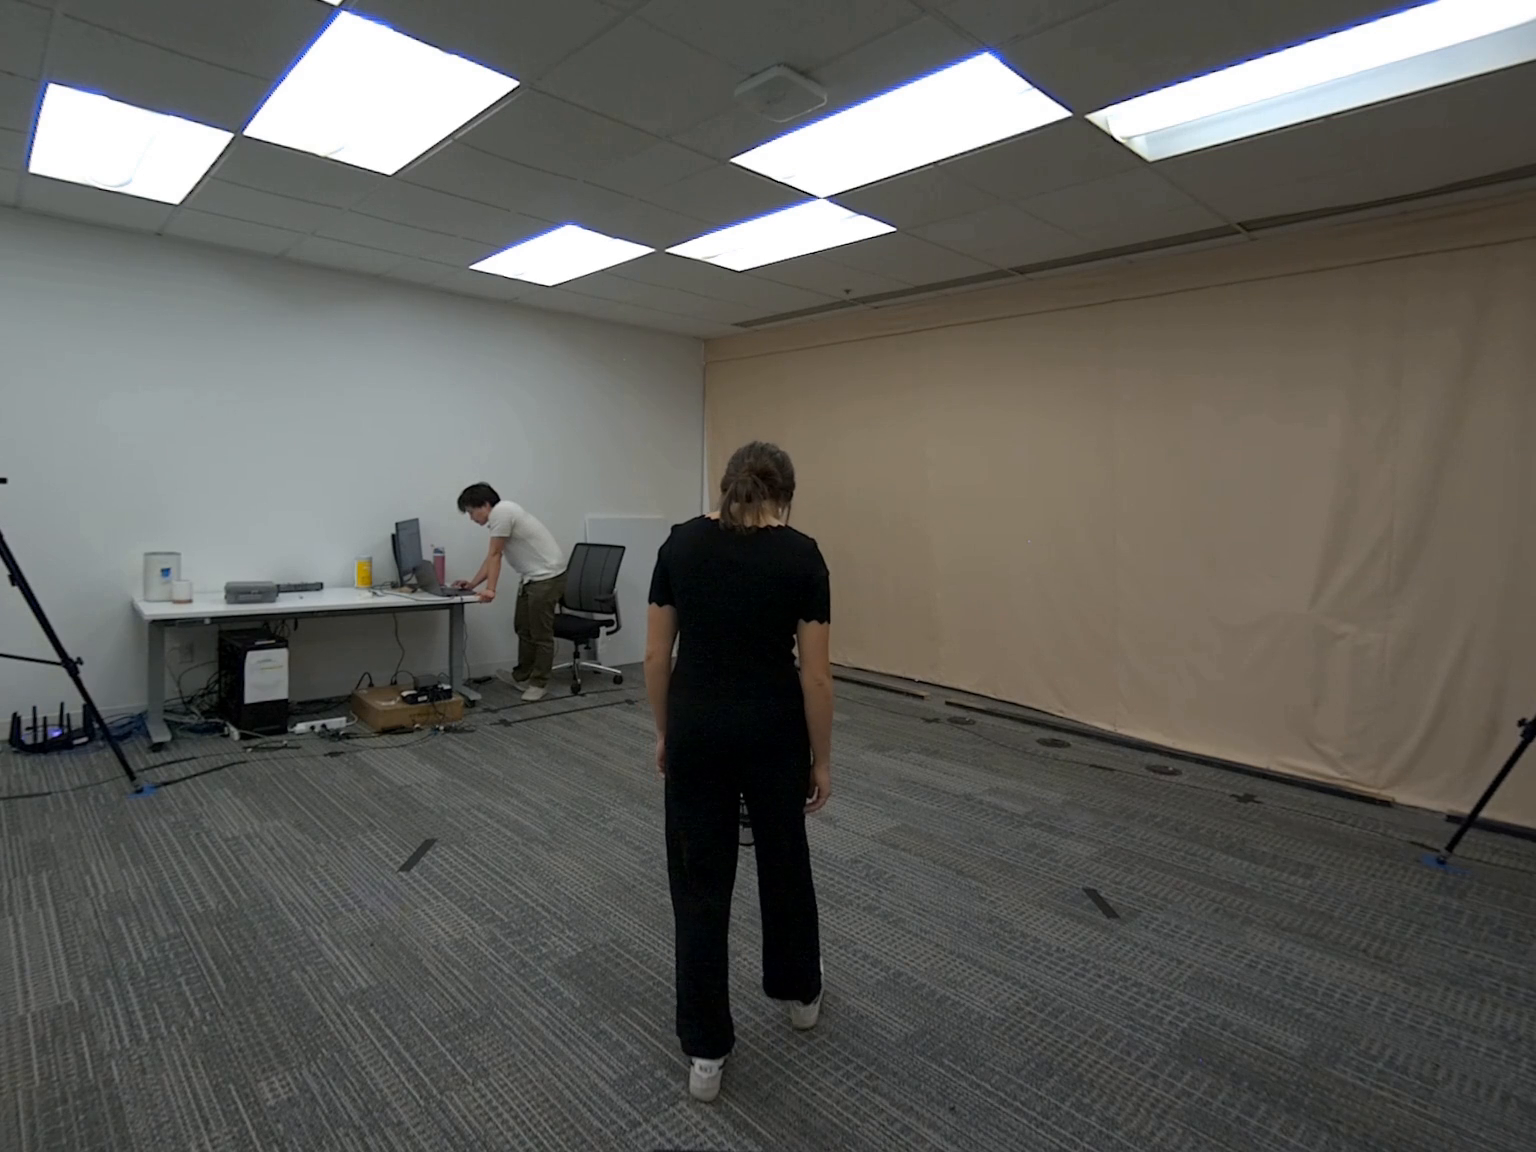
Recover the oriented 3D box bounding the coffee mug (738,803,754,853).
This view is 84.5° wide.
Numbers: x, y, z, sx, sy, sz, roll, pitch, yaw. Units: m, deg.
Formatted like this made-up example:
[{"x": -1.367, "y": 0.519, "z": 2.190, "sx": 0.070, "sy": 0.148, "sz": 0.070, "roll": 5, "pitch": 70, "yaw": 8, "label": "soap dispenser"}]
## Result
[{"x": -0.112, "y": 0.988, "z": 3.390, "sx": 0.119, "sy": 0.202, "sz": 0.090, "roll": 3, "pitch": 5, "yaw": -33, "label": "coffee mug"}]
